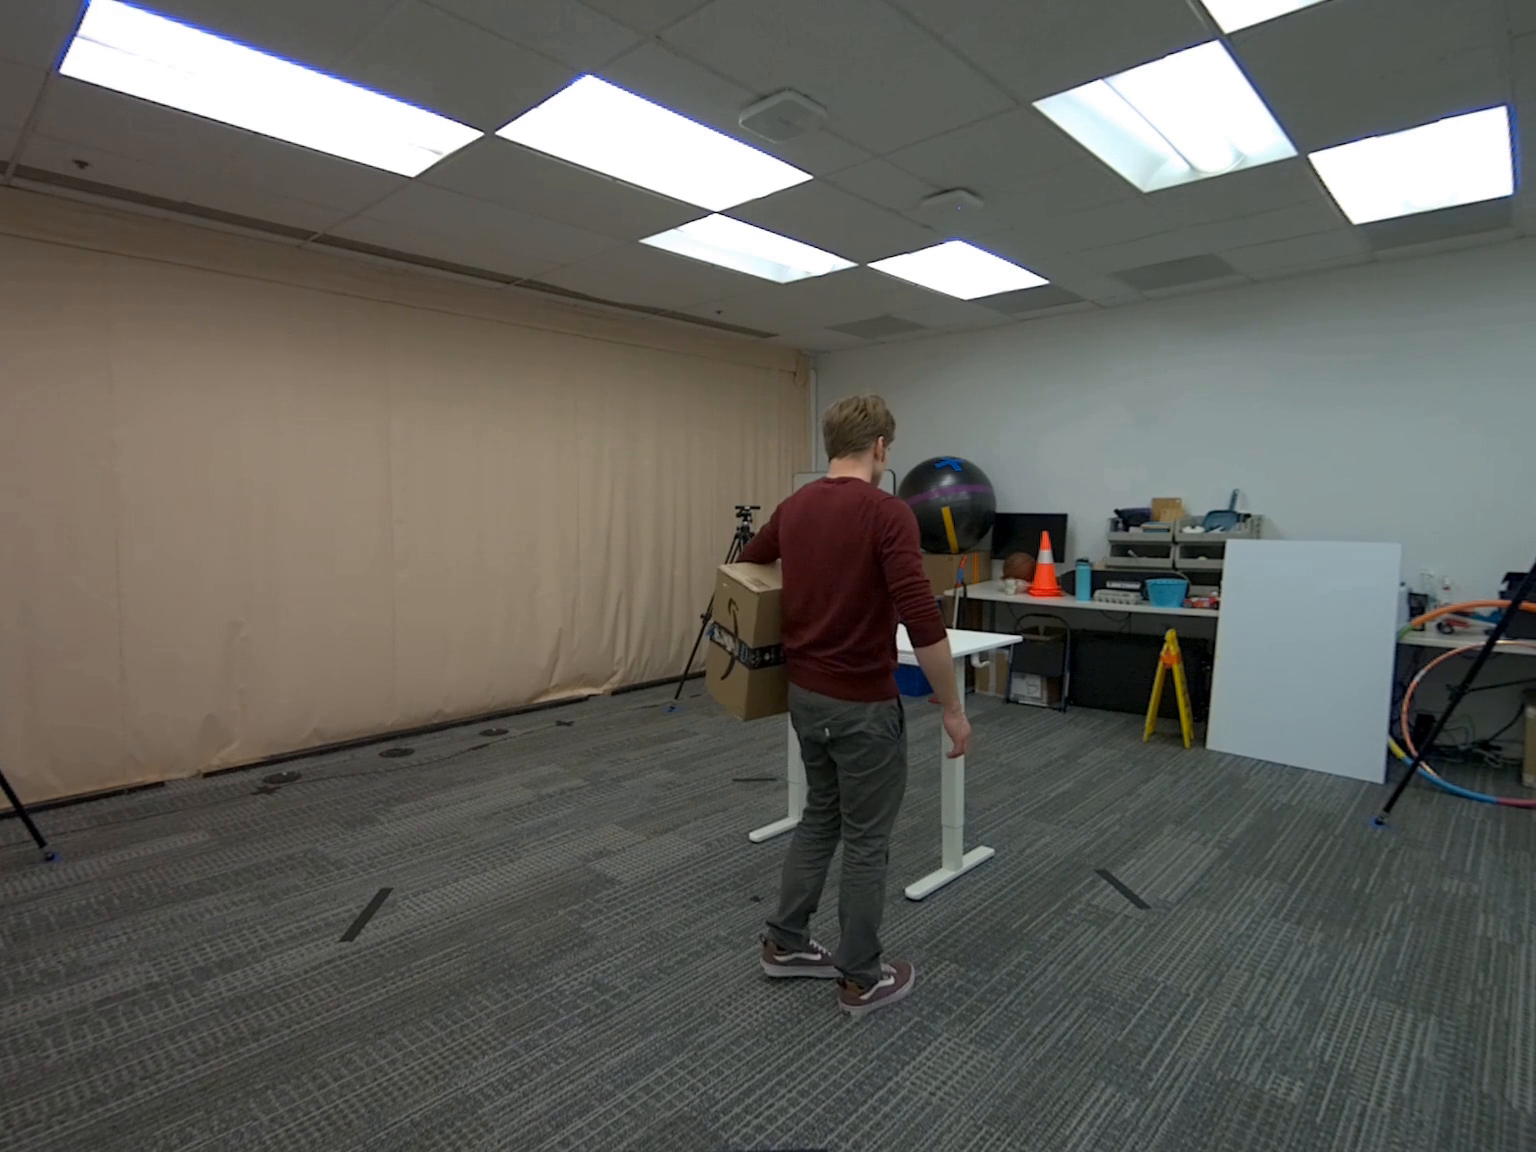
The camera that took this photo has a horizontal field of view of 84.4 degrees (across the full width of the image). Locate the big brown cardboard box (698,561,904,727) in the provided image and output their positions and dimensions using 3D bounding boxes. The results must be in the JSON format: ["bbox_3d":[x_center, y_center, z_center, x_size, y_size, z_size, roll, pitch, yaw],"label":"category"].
[{"bbox_3d":[0.114,0.172,2.622,0.573,0.414,0.241,-6,21,-32],"label":"big brown cardboard box"}]
